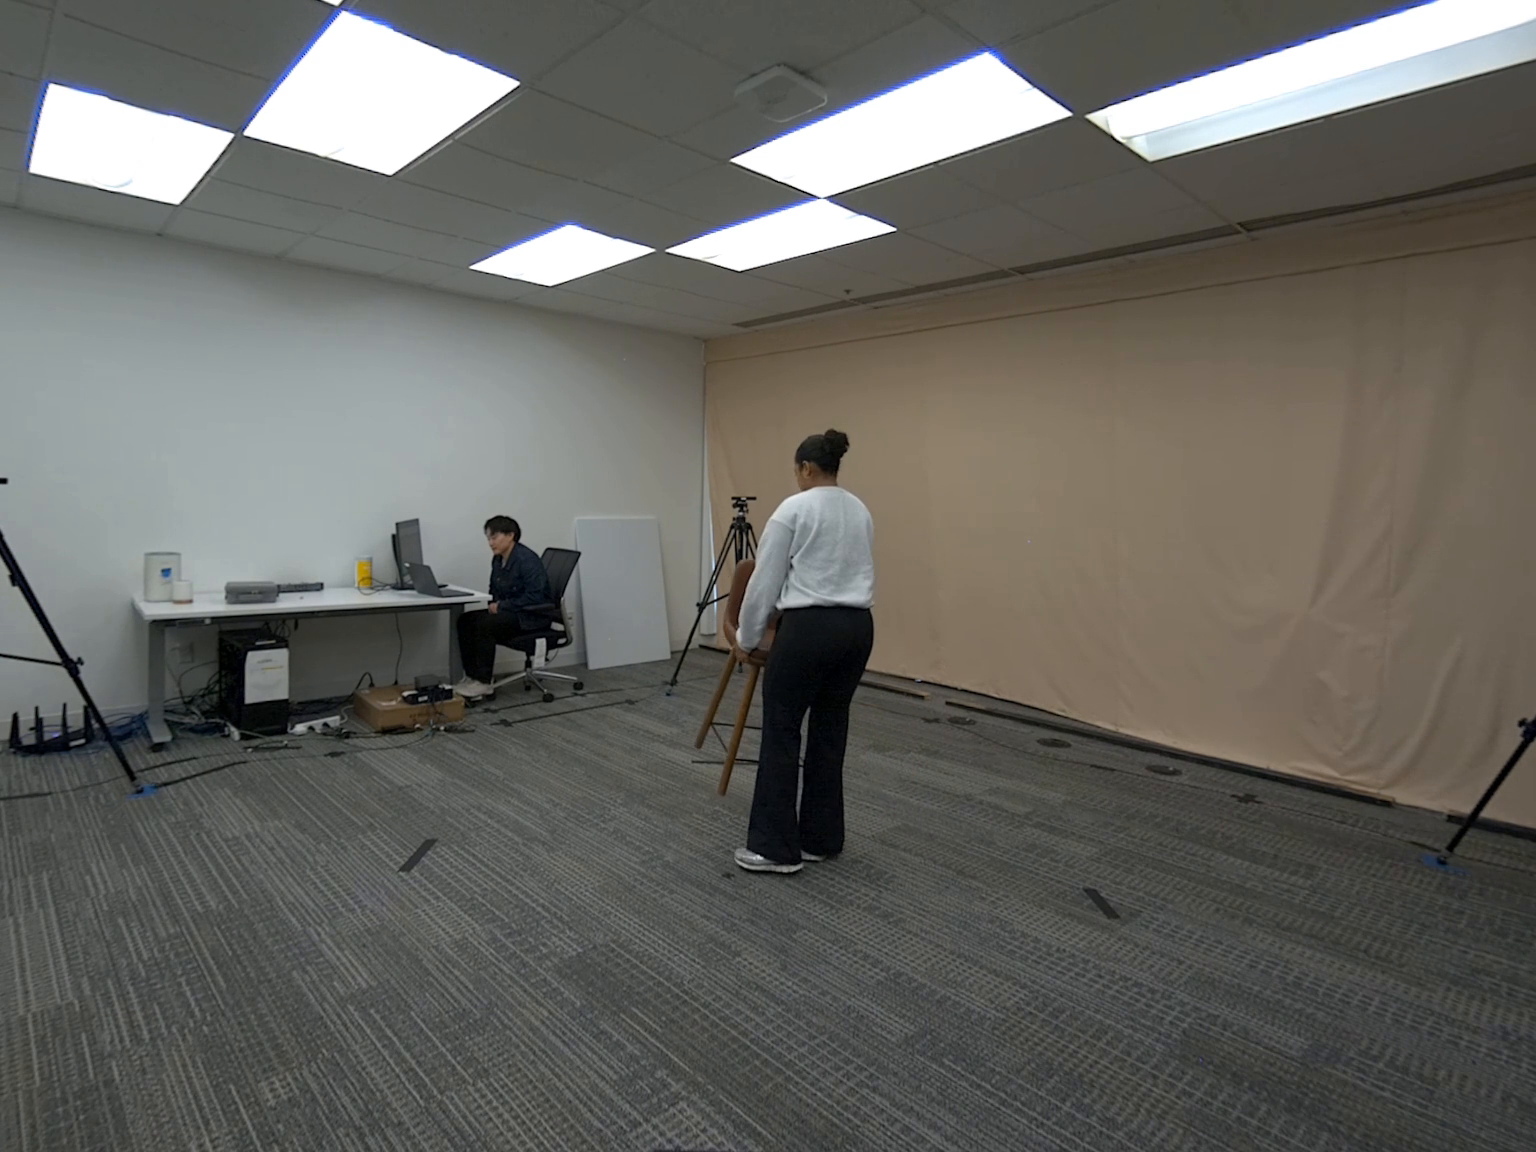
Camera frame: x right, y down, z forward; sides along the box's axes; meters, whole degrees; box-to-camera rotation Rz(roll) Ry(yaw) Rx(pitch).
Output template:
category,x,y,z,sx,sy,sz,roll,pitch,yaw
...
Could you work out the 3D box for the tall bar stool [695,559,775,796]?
category,x,y,z,sx,sy,sz,roll,pitch,yaw
tall bar stool,0.013,0.435,3.519,0.448,0.887,0.477,12,6,-21
